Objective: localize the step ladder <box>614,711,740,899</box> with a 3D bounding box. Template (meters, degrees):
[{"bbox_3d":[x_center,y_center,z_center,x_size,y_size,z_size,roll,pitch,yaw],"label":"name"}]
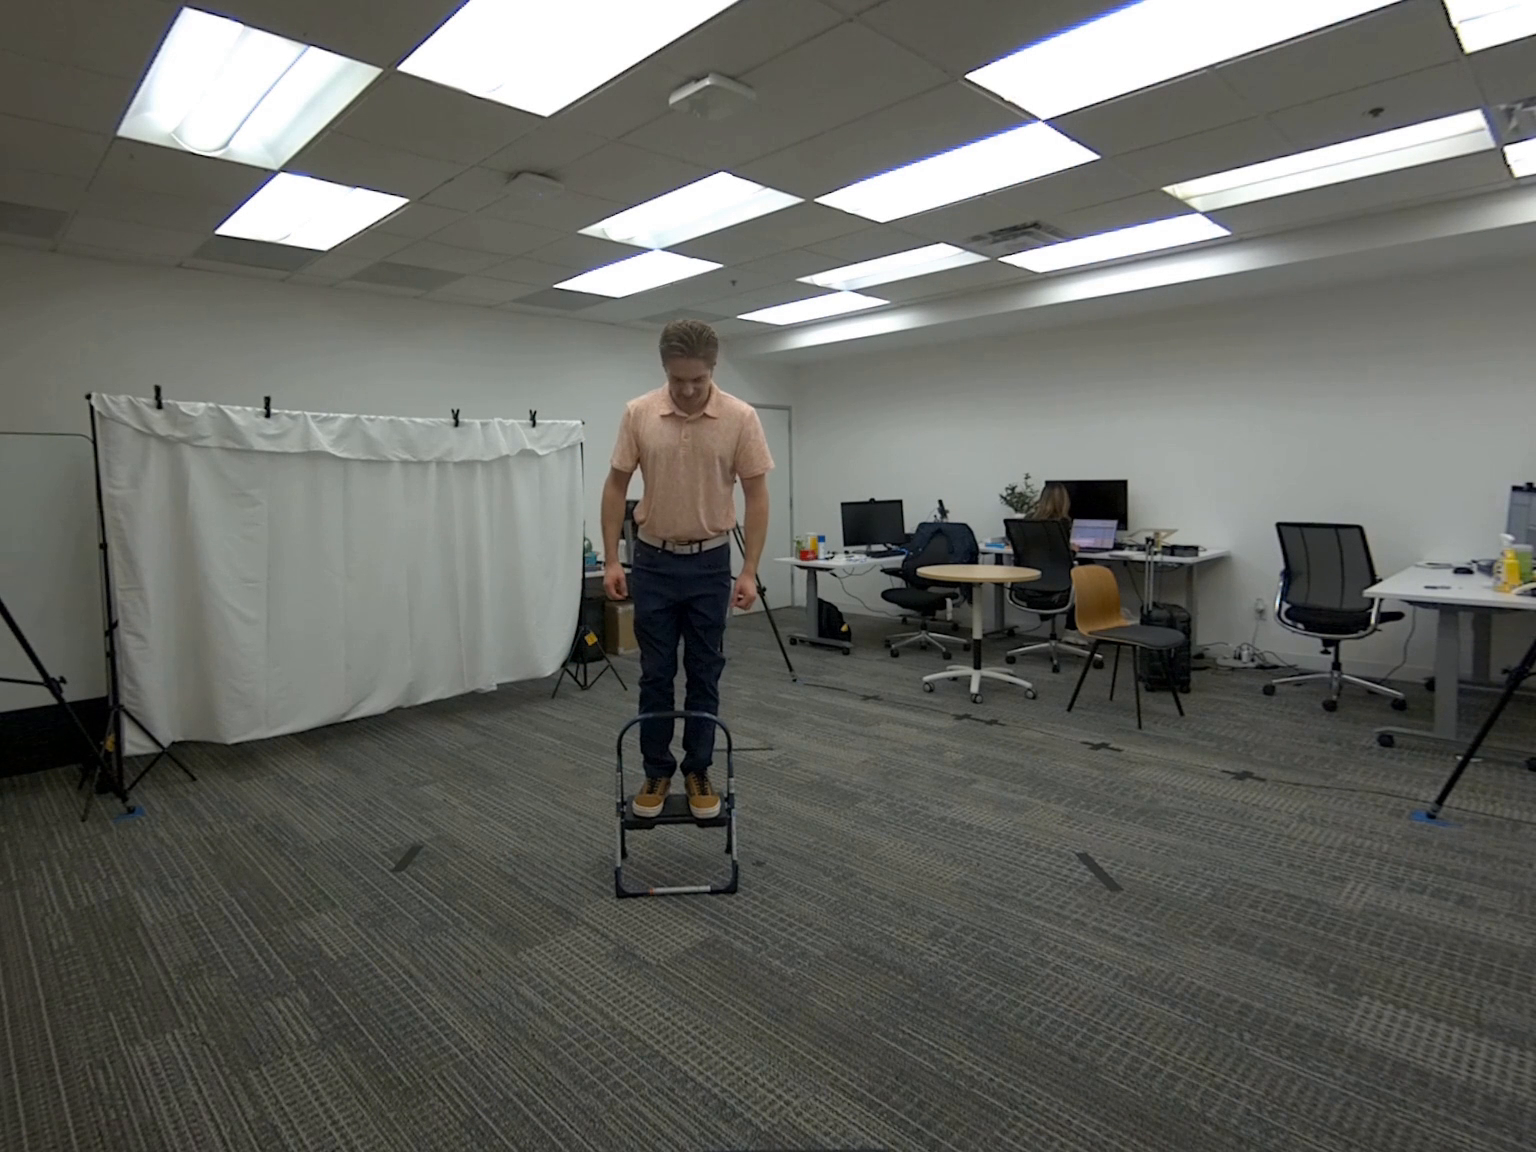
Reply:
[{"bbox_3d":[-0.328,0.762,3.024,0.429,0.604,0.352,-2,4,-5],"label":"step ladder"}]
